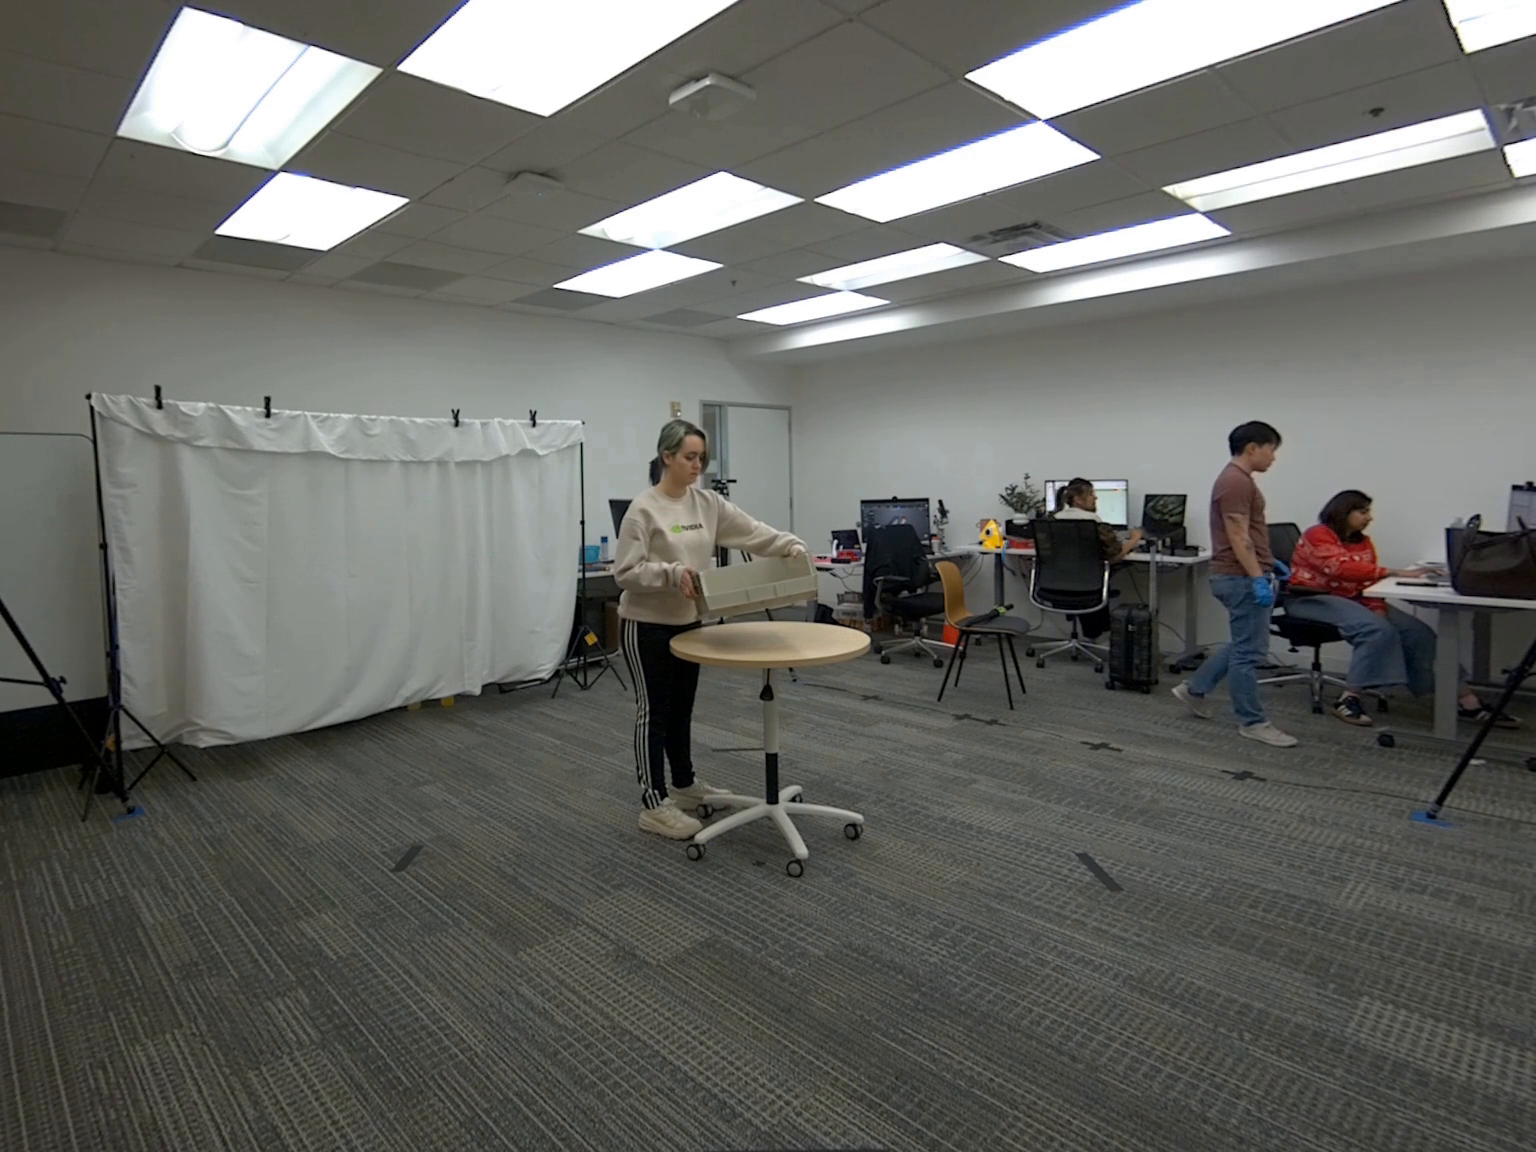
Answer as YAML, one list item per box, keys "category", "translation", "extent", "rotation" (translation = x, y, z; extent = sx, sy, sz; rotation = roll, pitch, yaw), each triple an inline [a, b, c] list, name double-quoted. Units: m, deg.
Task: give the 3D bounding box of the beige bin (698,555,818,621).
- category: "beige bin"
  translation: [-0.073, 0.046, 3.192]
  extent: [0.419, 0.189, 0.379]
  rotation: [-11, -1, -10]
